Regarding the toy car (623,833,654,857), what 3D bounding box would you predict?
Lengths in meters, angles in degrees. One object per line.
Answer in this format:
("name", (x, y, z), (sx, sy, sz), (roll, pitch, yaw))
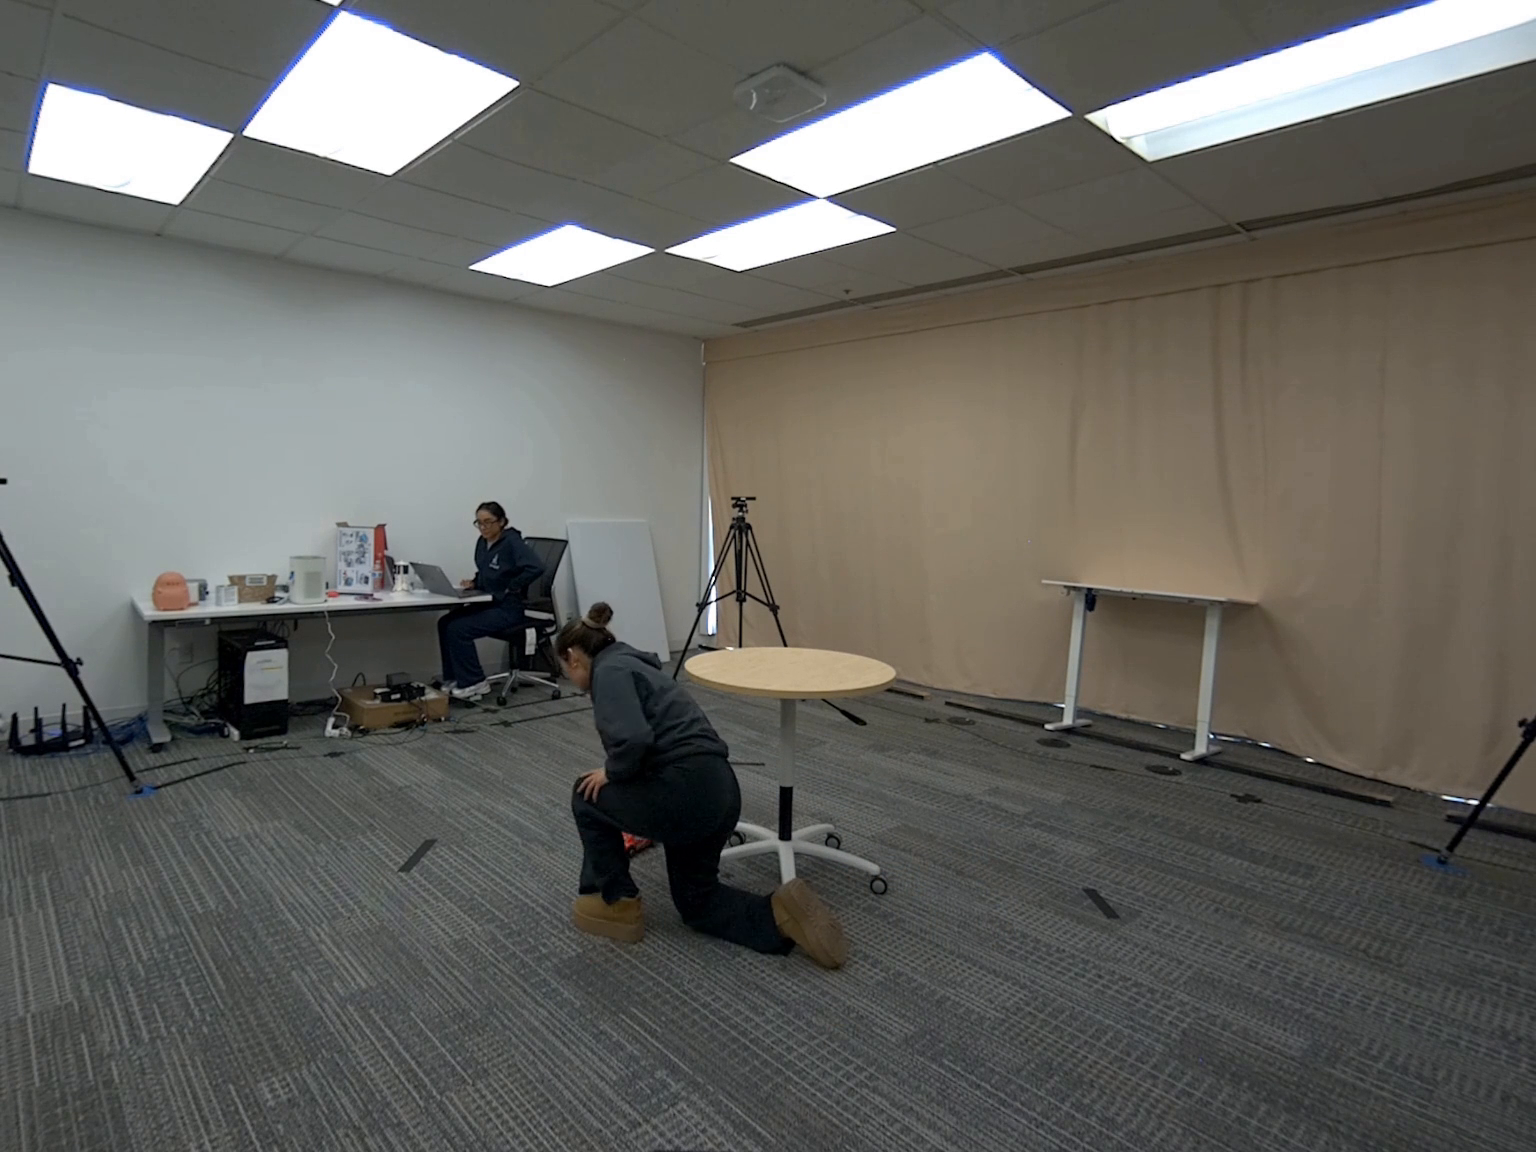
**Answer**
("toy car", (-0.557, 1.054, 3.314), (0.133, 0.083, 0.248), (6, -4, 35))
